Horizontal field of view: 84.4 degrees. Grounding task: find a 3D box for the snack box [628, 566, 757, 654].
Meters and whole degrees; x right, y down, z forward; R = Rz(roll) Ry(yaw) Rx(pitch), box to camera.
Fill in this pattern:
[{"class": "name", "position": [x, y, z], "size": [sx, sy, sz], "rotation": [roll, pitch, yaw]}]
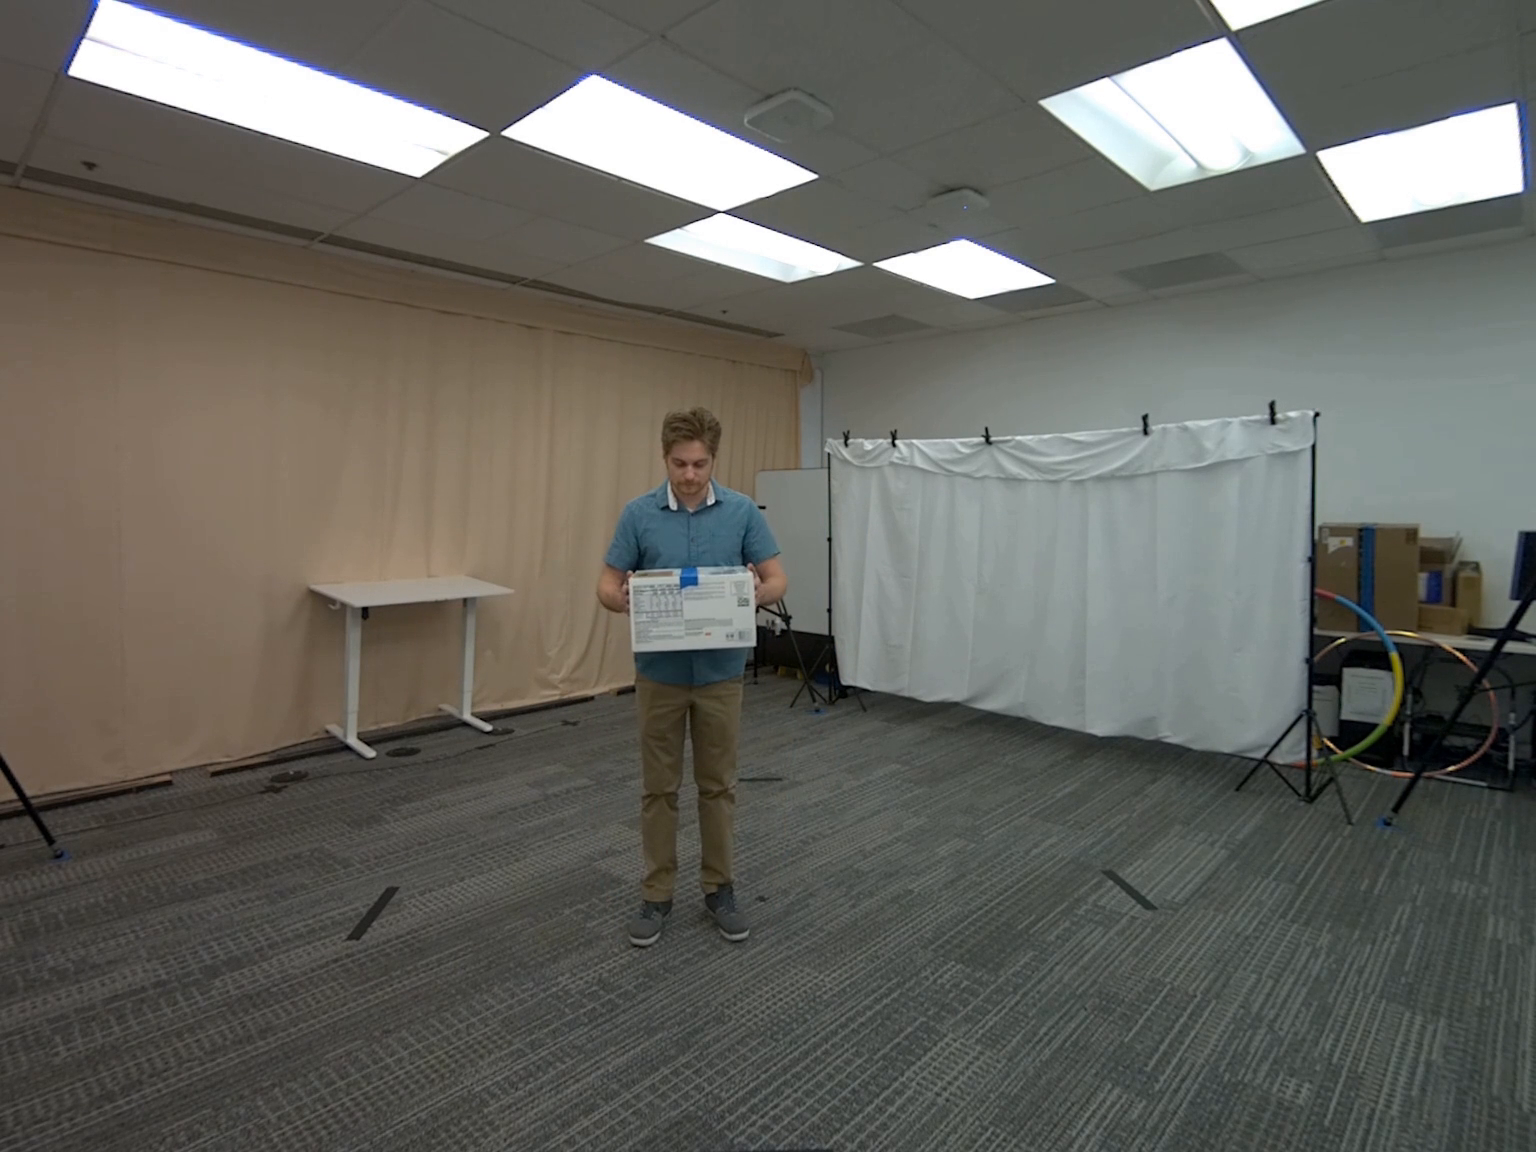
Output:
[{"class": "snack box", "position": [-0.219, 0.097, 2.471], "size": [0.339, 0.205, 0.407], "rotation": [-3, 4, -3]}]
